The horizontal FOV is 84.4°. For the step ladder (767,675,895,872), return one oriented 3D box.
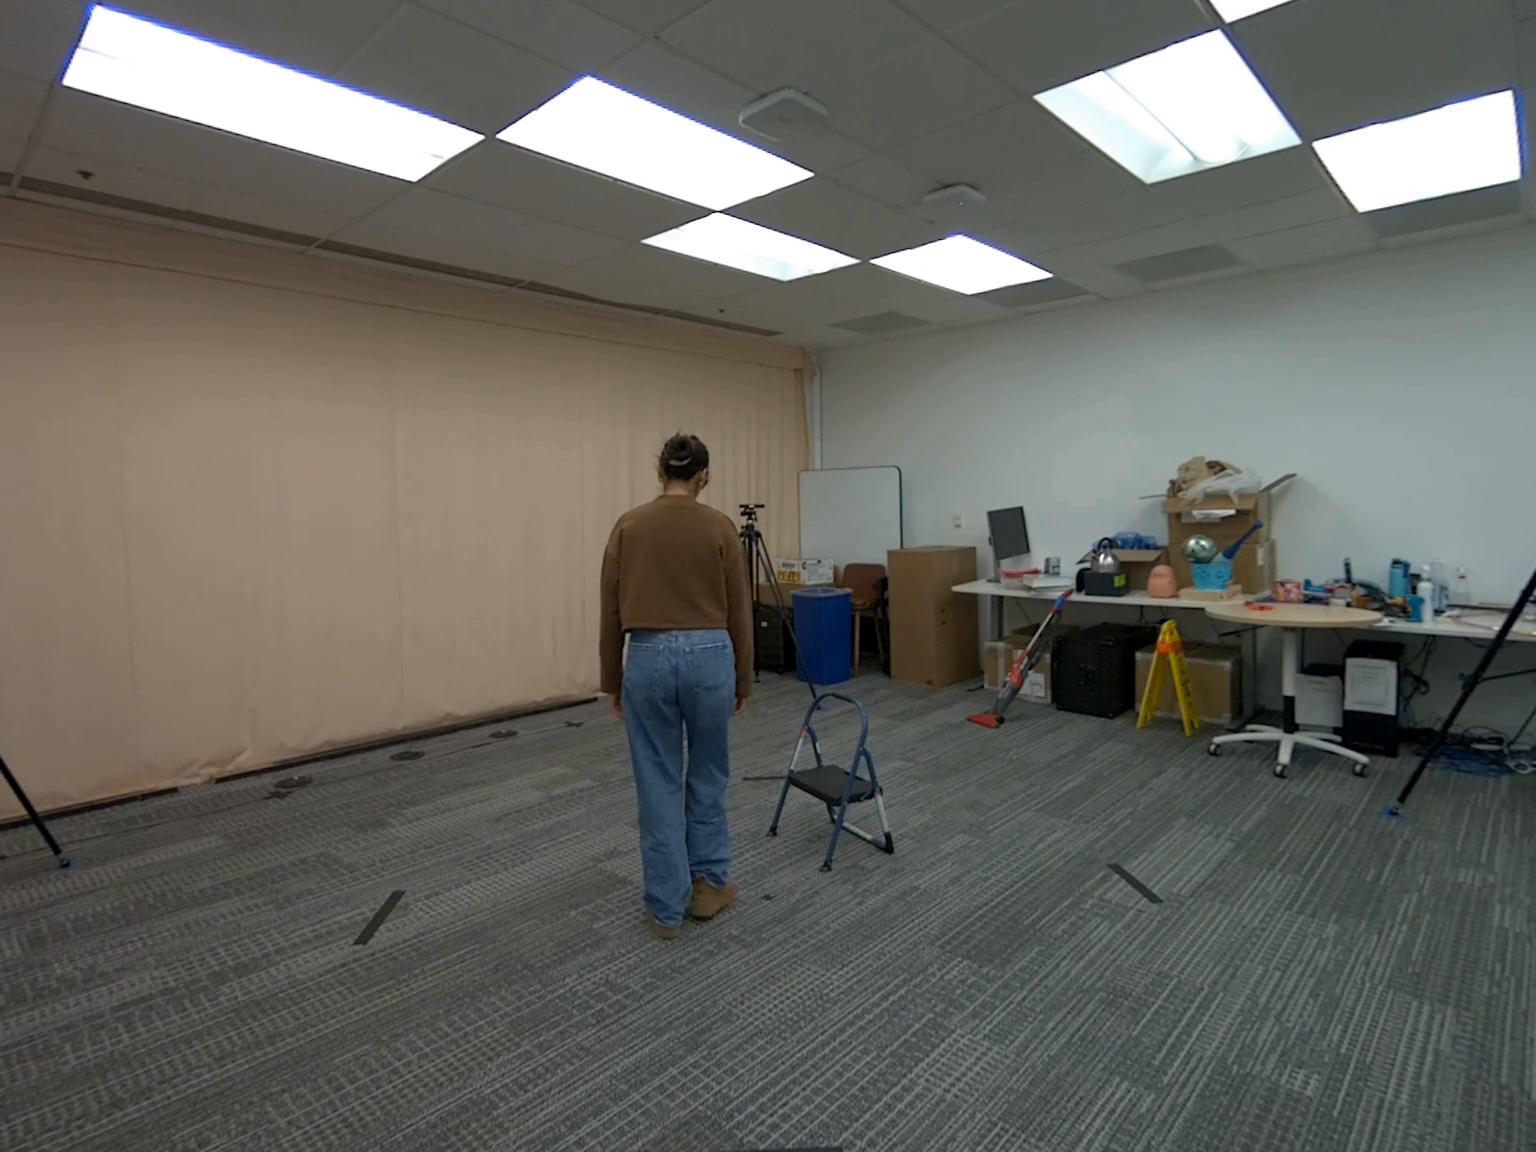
[{"bbox_3d":[0.254,0.792,3.429,0.340,0.605,0.443,-2,4,-30],"label":"step ladder"}]
